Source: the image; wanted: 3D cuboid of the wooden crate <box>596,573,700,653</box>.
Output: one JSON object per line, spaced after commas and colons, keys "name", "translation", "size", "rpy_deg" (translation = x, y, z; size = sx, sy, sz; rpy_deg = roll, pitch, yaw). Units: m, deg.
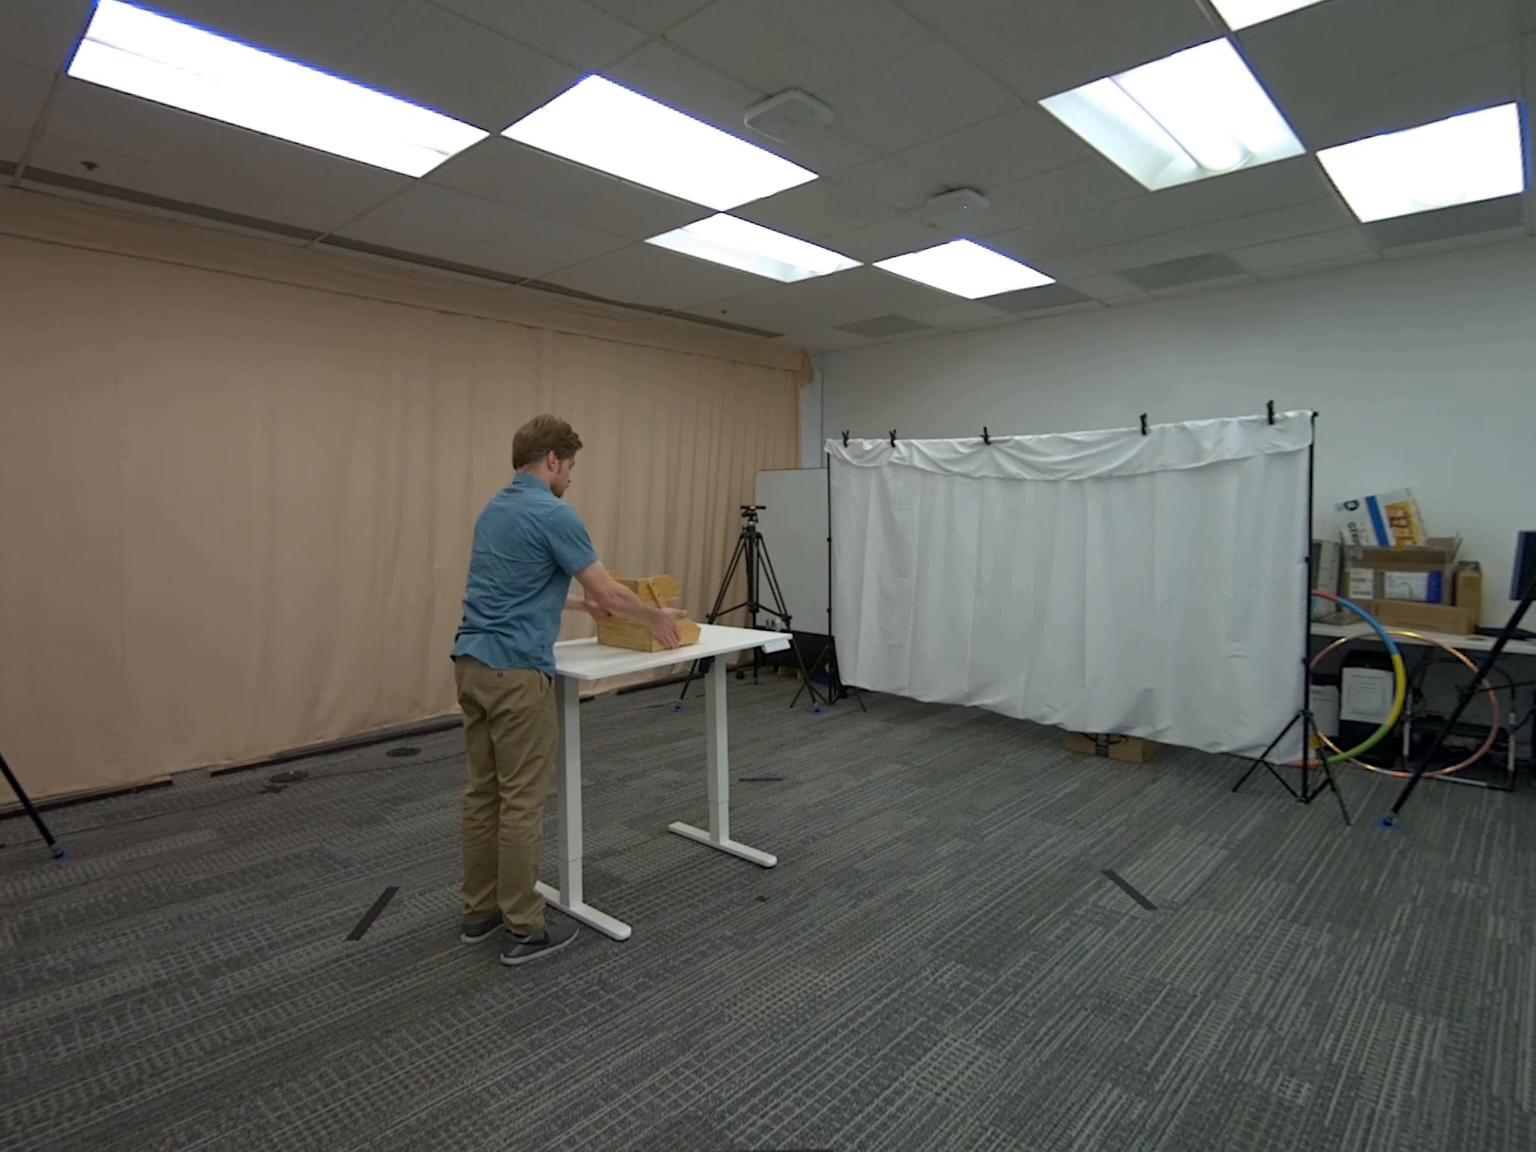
{"name": "wooden crate", "translation": [-0.460, 0.118, 3.098], "size": [0.335, 0.272, 0.293], "rpy_deg": [3, 8, 42]}
